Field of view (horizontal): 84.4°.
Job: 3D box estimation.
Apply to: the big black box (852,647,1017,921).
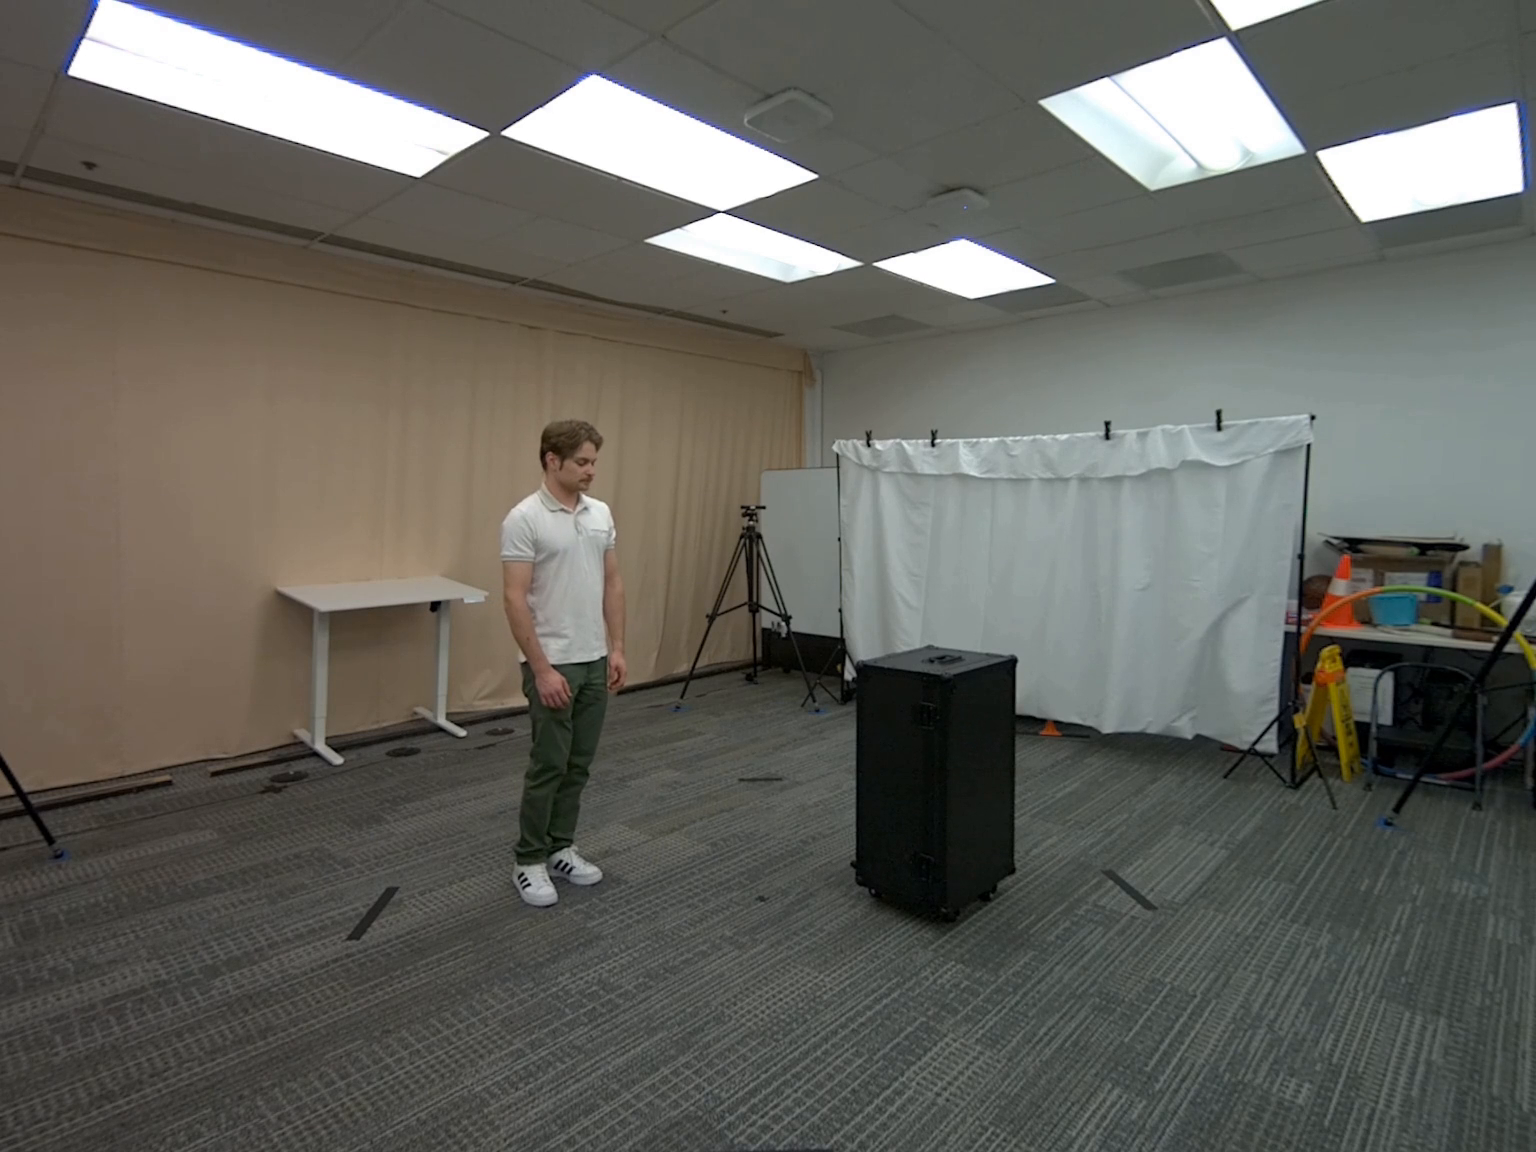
[{"bbox_3d":[0.596,0.722,2.961,0.398,0.867,0.507,2,3,43],"label":"big black box"}]
